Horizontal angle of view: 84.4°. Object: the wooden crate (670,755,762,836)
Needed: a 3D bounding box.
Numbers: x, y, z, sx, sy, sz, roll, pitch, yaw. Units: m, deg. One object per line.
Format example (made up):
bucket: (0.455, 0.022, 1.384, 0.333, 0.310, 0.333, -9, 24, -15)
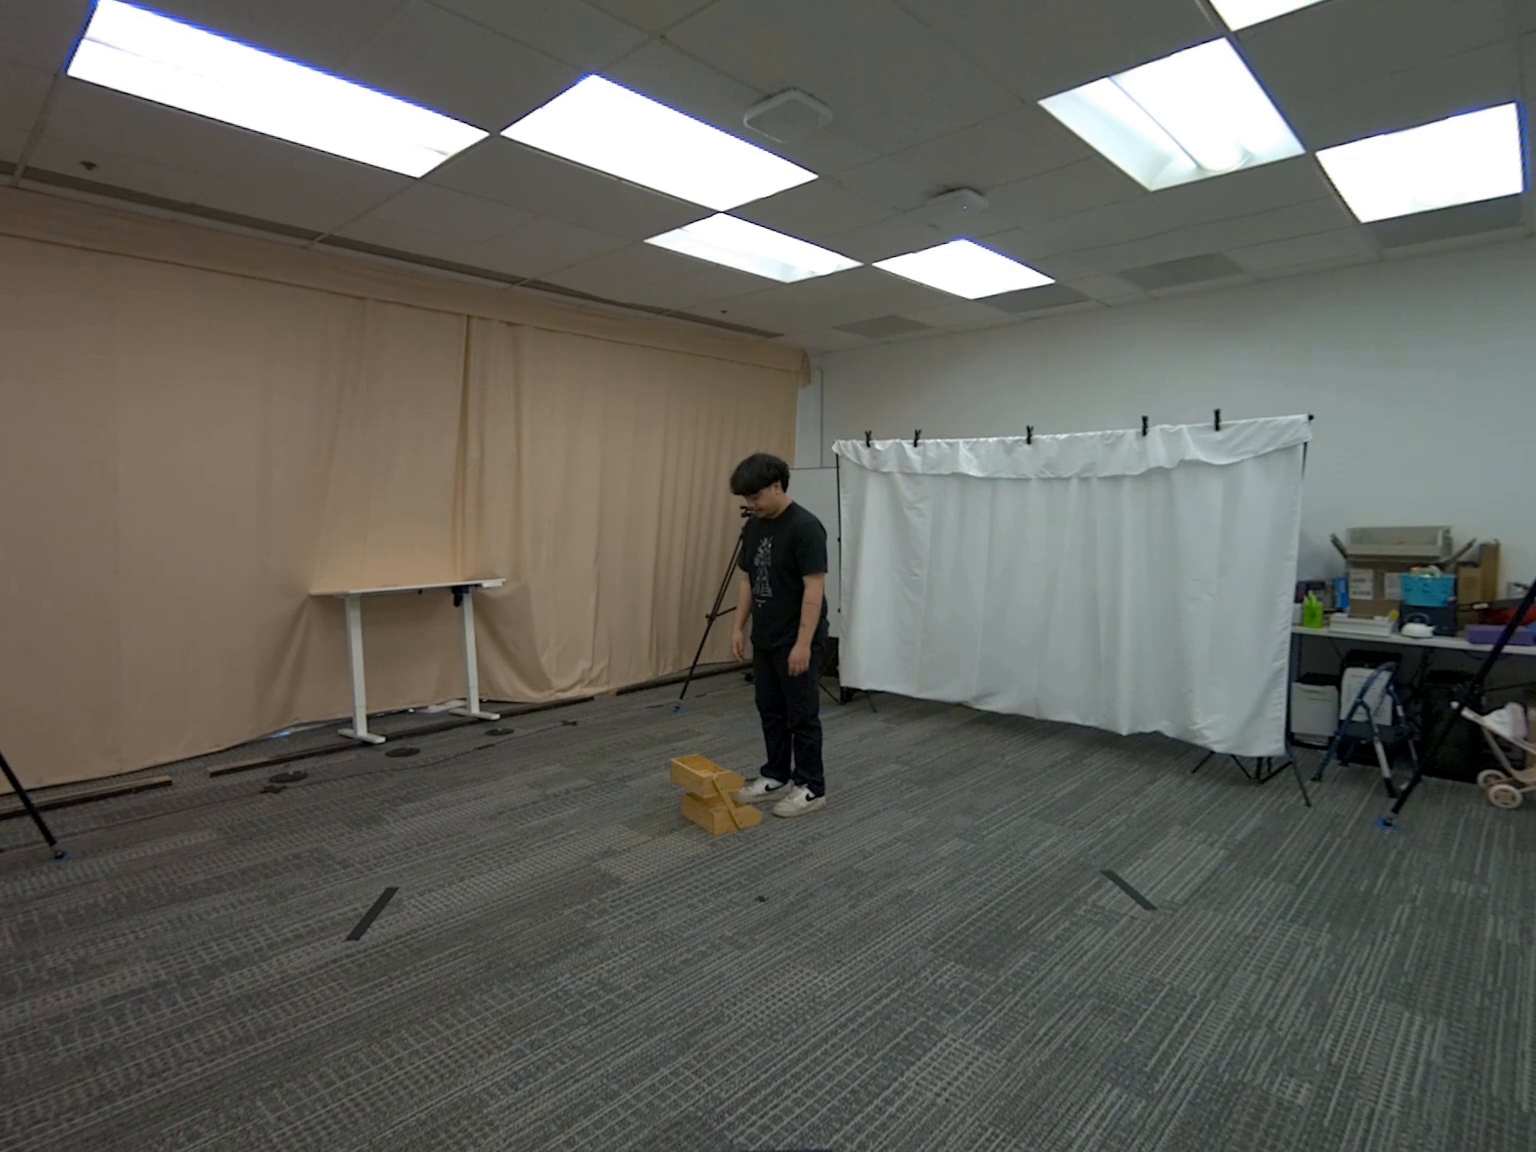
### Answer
wooden crate: (-0.230, 0.953, 3.740, 0.294, 0.273, 0.334, -3, 4, -33)
